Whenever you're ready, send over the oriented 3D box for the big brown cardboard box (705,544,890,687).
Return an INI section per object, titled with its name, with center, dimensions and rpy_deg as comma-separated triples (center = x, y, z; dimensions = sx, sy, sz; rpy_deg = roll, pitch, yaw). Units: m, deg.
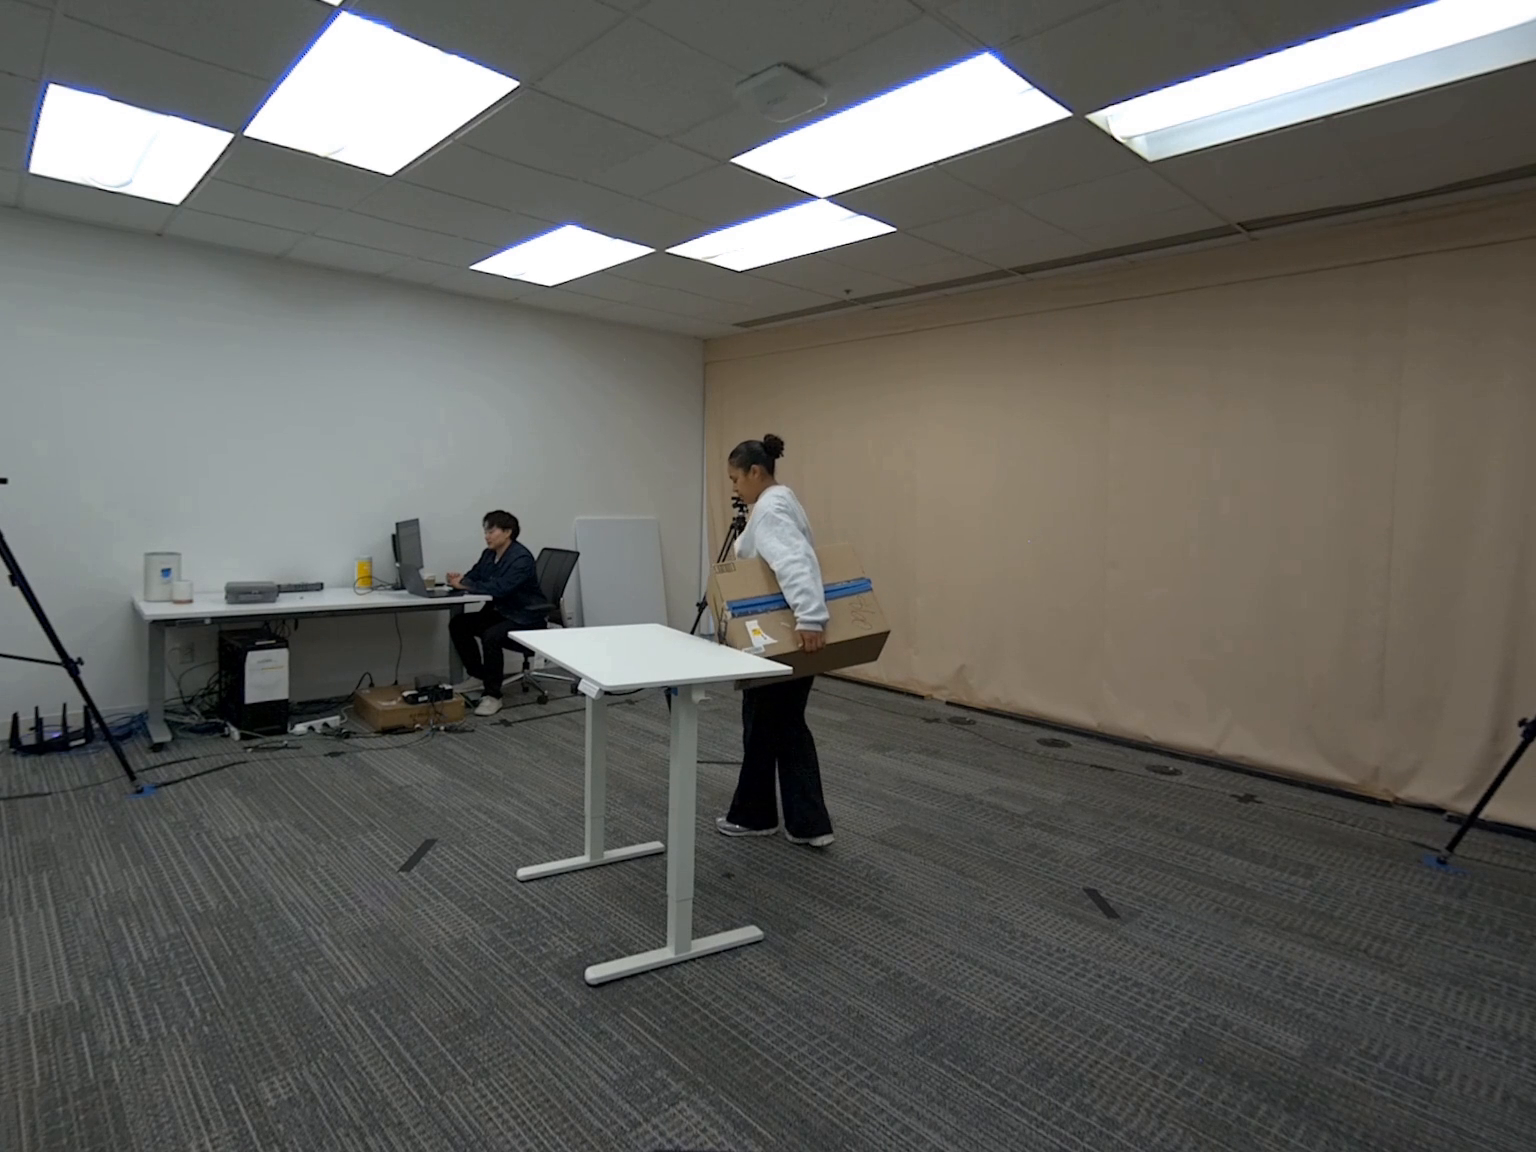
[big brown cardboard box]
center = 0.093, 0.134, 3.115
dimensions = 0.583, 0.429, 0.229
rpy_deg = -10, -36, -16
